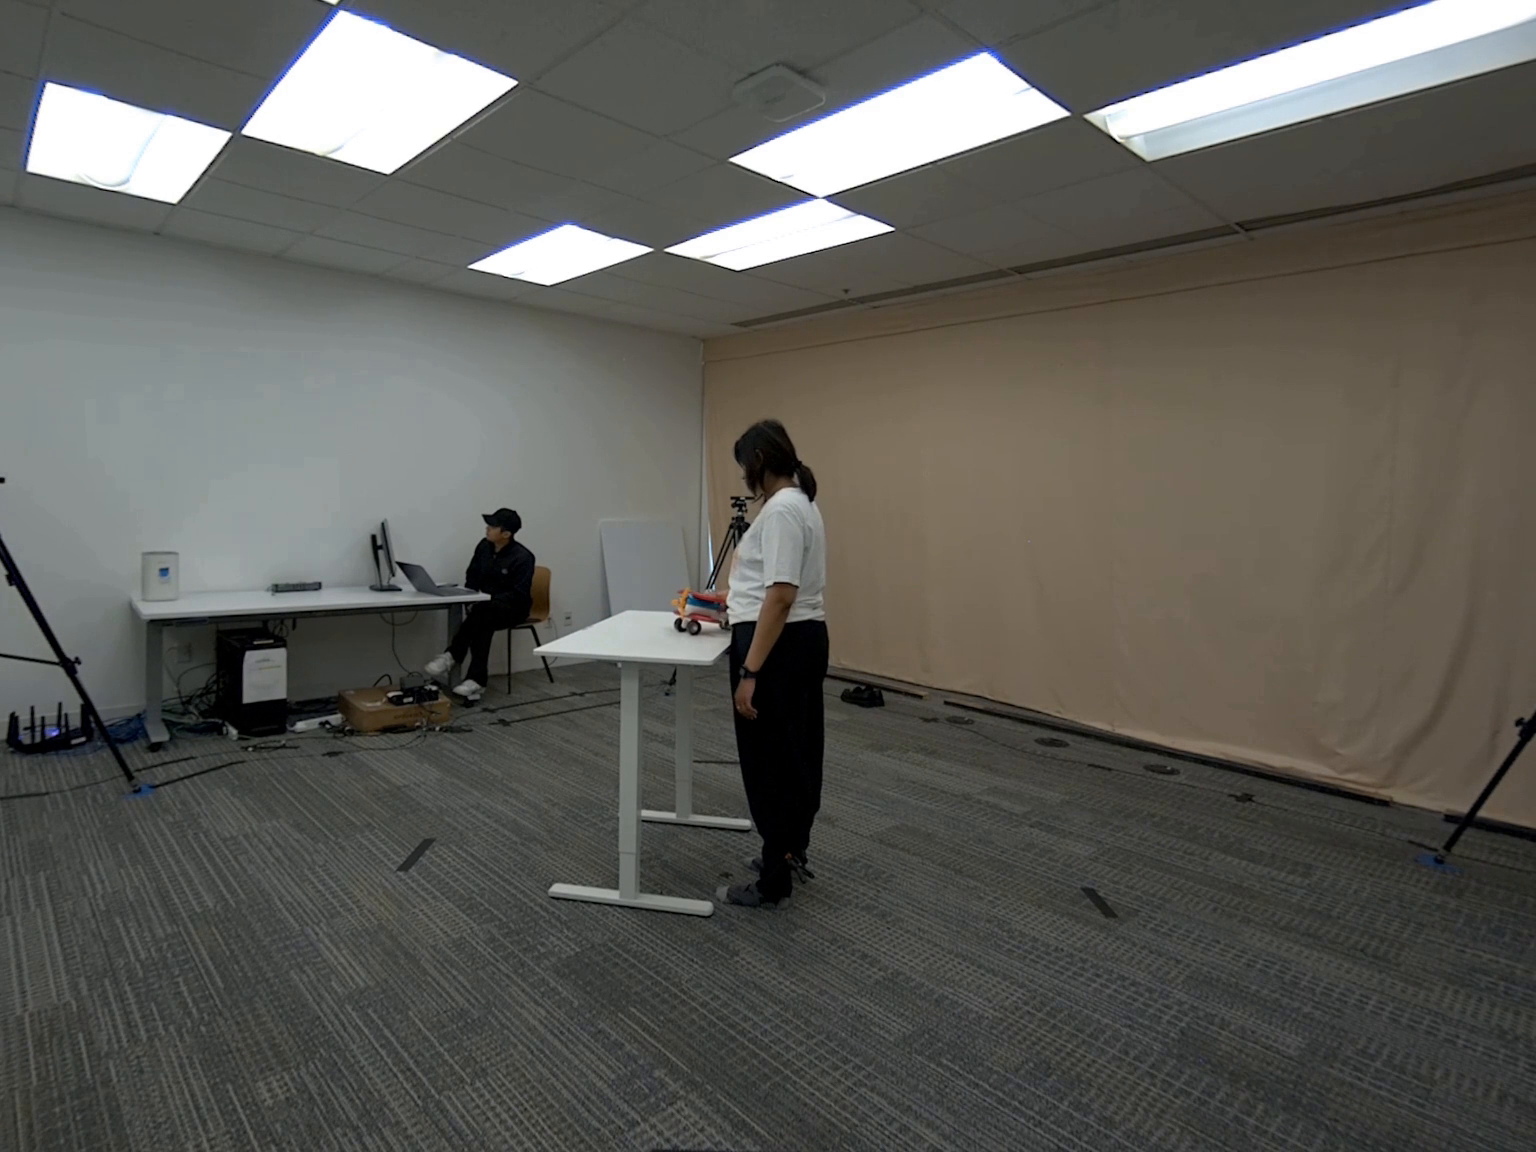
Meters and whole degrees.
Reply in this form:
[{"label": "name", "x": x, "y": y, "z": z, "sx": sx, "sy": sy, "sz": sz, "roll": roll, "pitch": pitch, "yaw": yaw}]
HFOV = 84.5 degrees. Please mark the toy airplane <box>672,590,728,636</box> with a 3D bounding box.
[{"label": "toy airplane", "x": -0.248, "y": 0.134, "z": 3.197, "sx": 0.256, "sy": 0.156, "sz": 0.255, "roll": 3, "pitch": 6, "yaw": 24}]
